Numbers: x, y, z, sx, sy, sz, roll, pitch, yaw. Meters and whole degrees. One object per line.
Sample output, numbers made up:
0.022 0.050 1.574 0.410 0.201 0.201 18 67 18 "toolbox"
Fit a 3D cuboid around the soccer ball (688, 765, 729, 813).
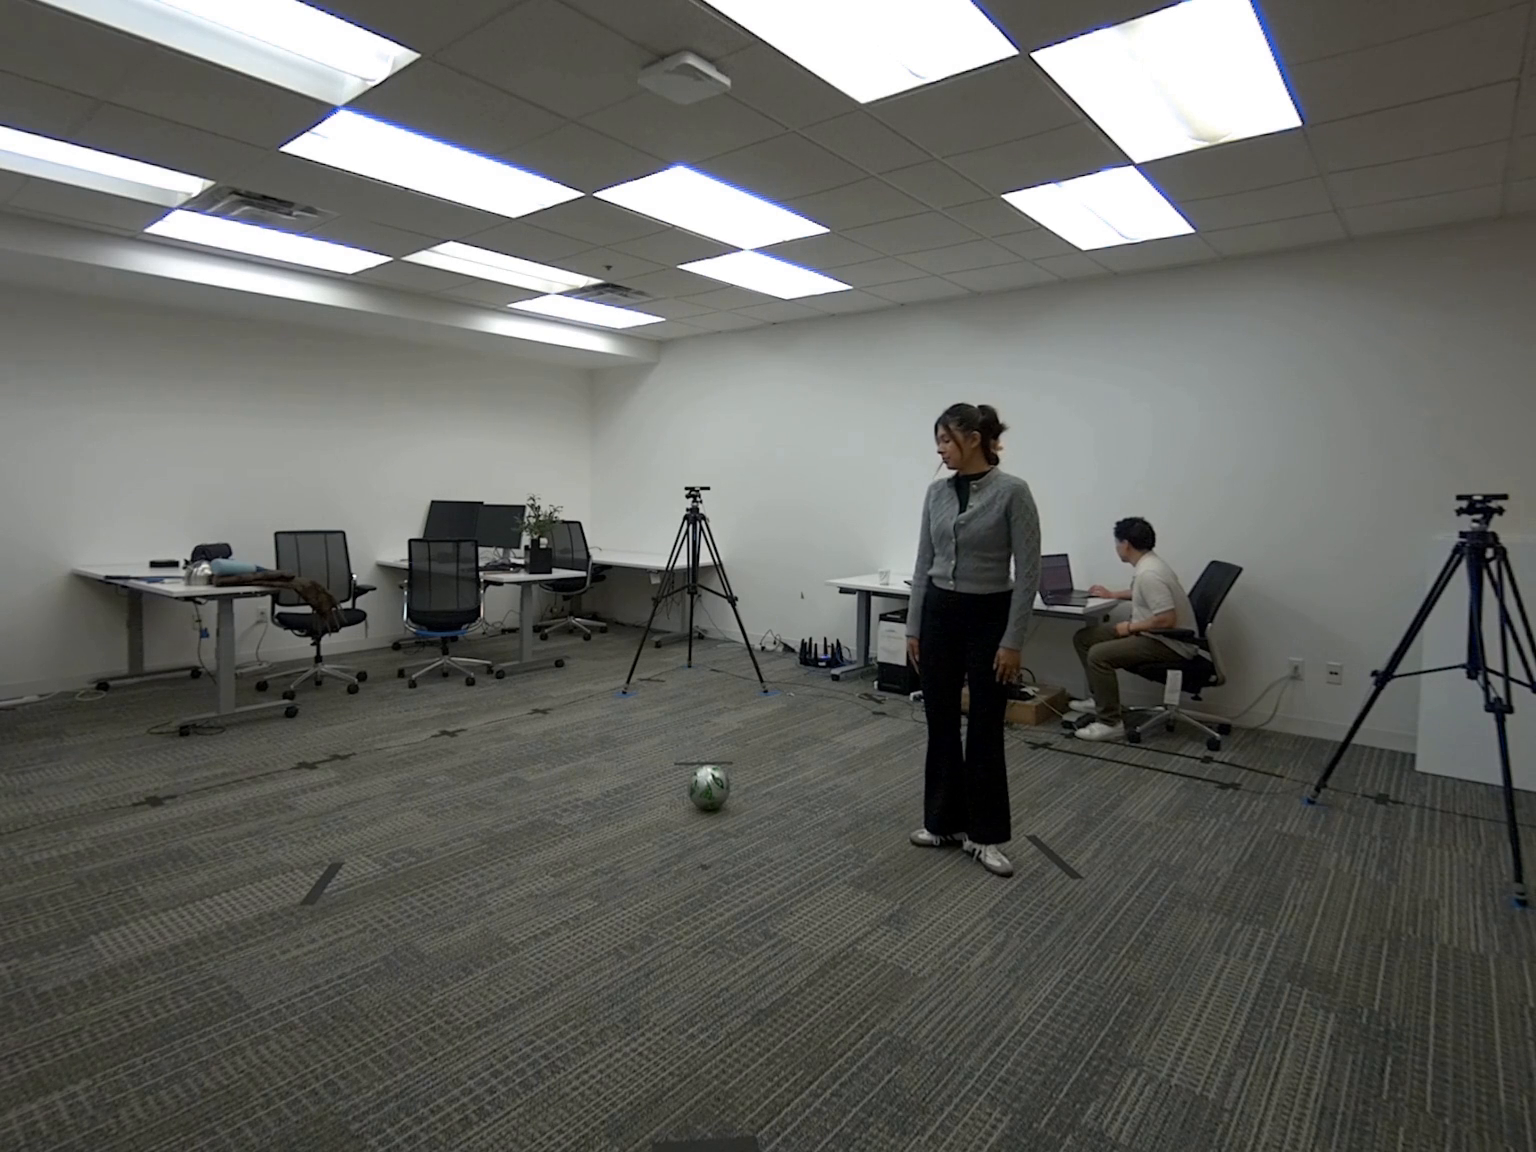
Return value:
-0.267 0.911 3.686 0.187 0.187 0.188 1 4 -2 "soccer ball"
